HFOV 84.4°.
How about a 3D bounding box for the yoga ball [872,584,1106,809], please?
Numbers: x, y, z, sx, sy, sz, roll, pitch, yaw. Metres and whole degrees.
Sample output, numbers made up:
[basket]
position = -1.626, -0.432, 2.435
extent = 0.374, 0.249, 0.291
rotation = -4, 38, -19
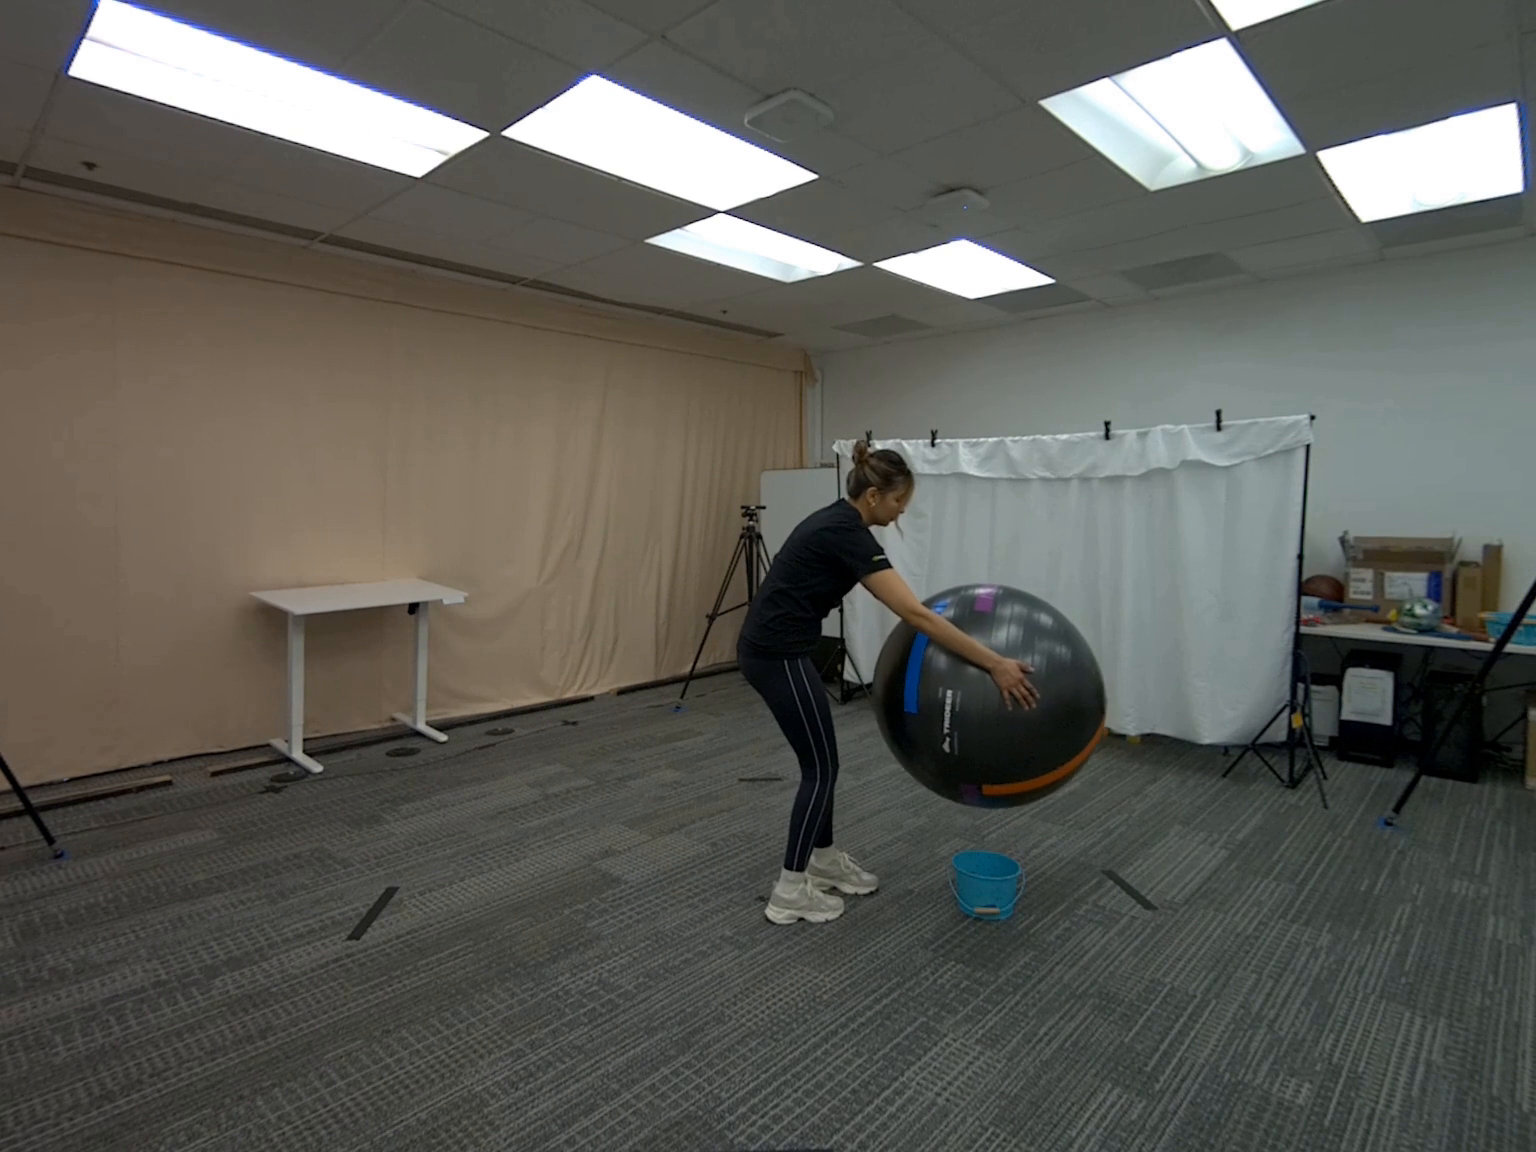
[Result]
[yoga ball]
position = 0.759, 0.412, 2.910
extent = 0.757, 0.756, 0.761
rotation = 0, 4, -2
